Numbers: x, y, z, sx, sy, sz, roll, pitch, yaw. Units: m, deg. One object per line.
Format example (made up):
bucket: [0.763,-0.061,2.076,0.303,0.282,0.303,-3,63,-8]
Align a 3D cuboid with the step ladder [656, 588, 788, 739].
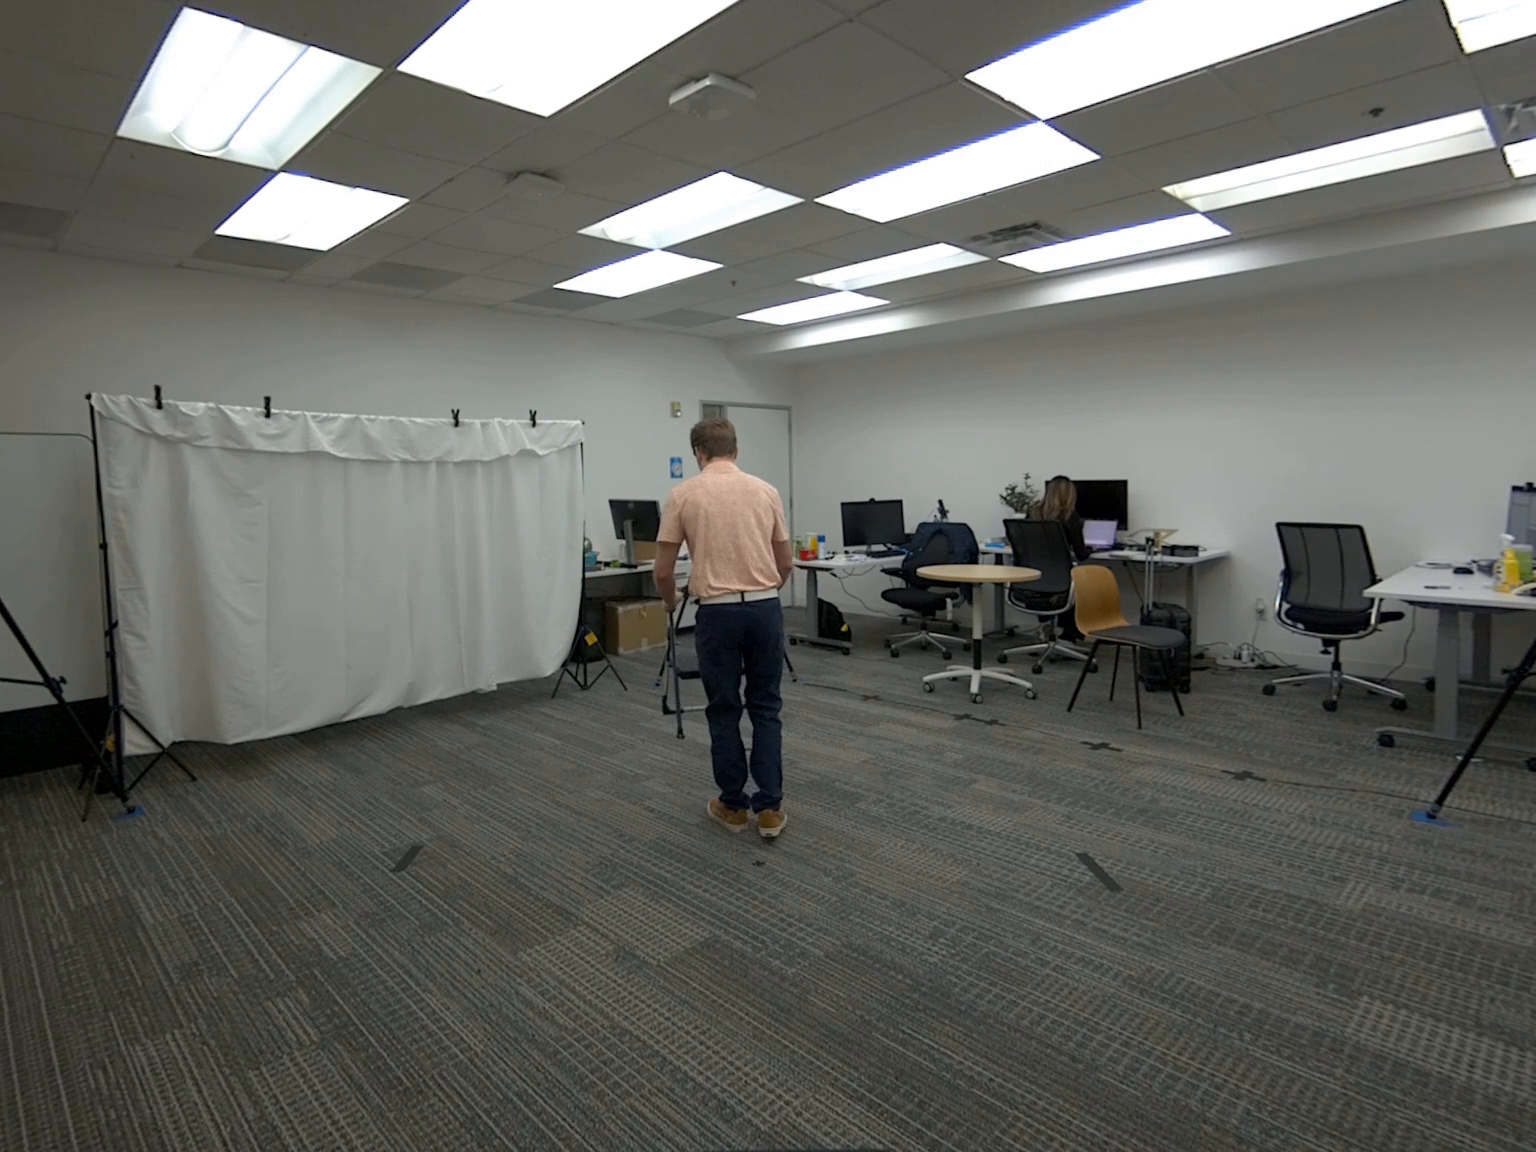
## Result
step ladder: [-0.220,0.347,3.690,0.423,0.603,0.357,-1,6,-18]
